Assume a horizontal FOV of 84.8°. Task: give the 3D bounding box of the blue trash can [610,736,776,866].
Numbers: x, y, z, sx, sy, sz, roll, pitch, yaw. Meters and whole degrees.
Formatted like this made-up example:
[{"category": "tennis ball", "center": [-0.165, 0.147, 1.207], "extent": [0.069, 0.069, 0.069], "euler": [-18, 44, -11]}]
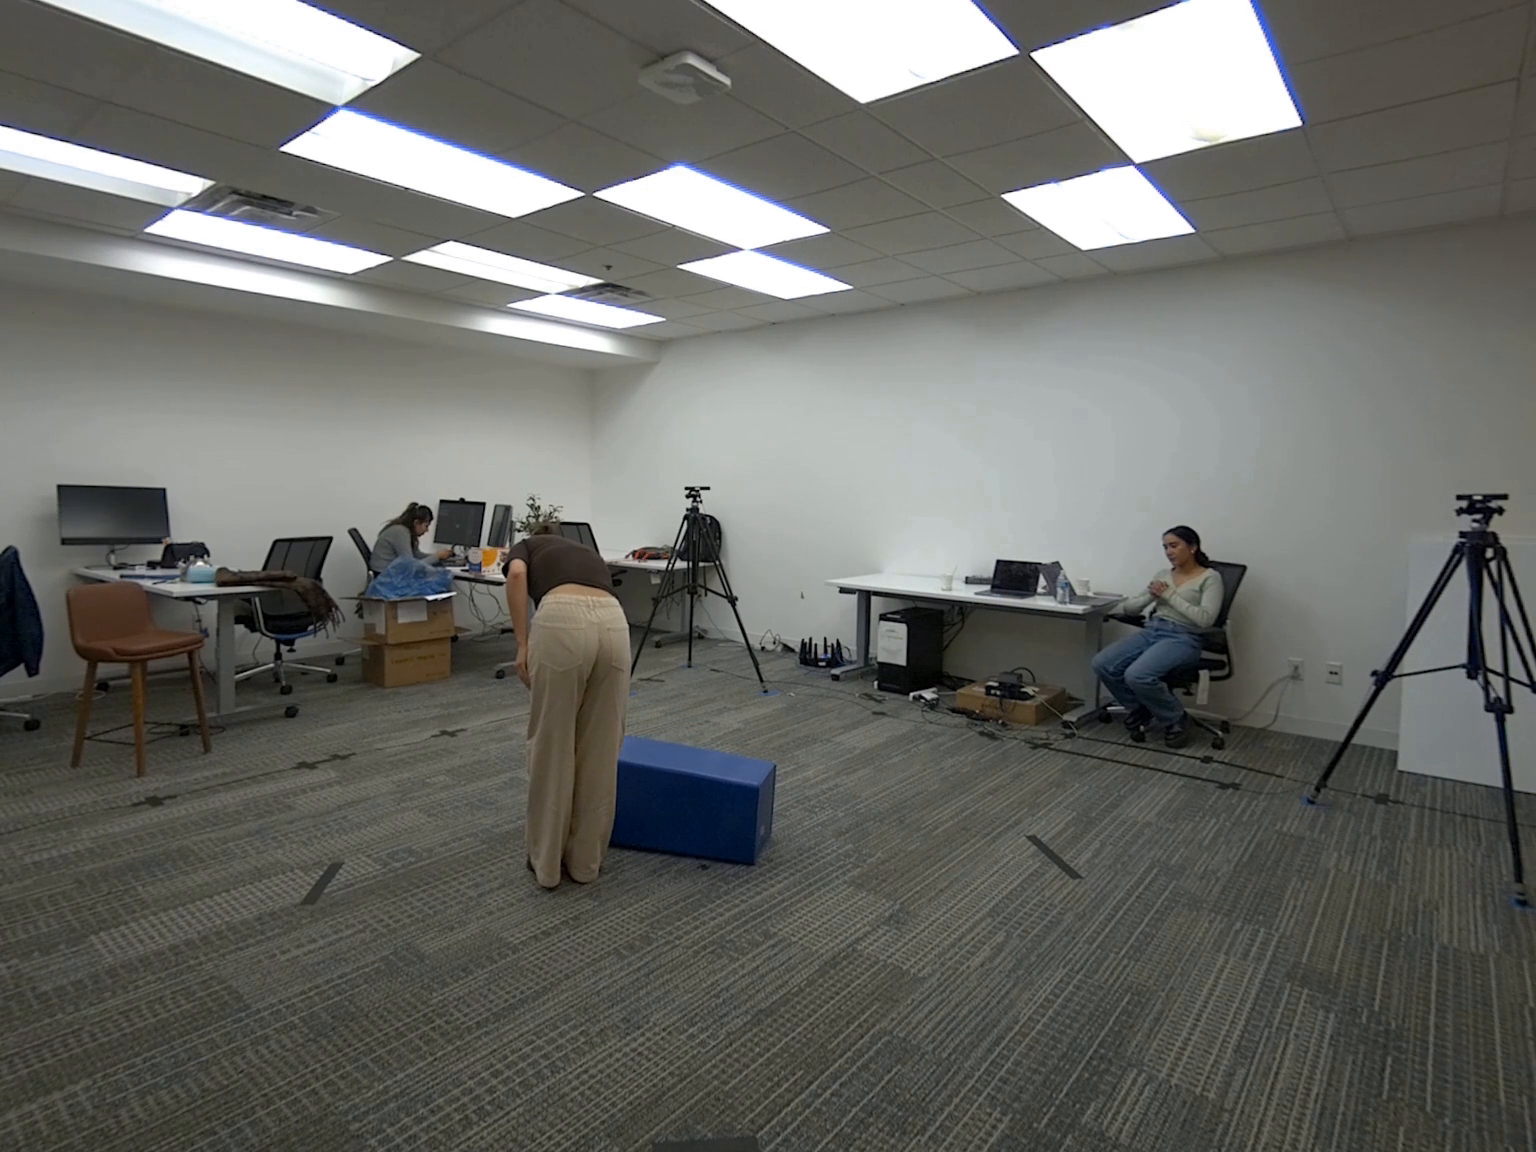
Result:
[{"category": "blue trash can", "center": [-0.363, 0.870, 3.347], "extent": [0.727, 0.373, 0.372], "euler": [6, 5, 16]}]
